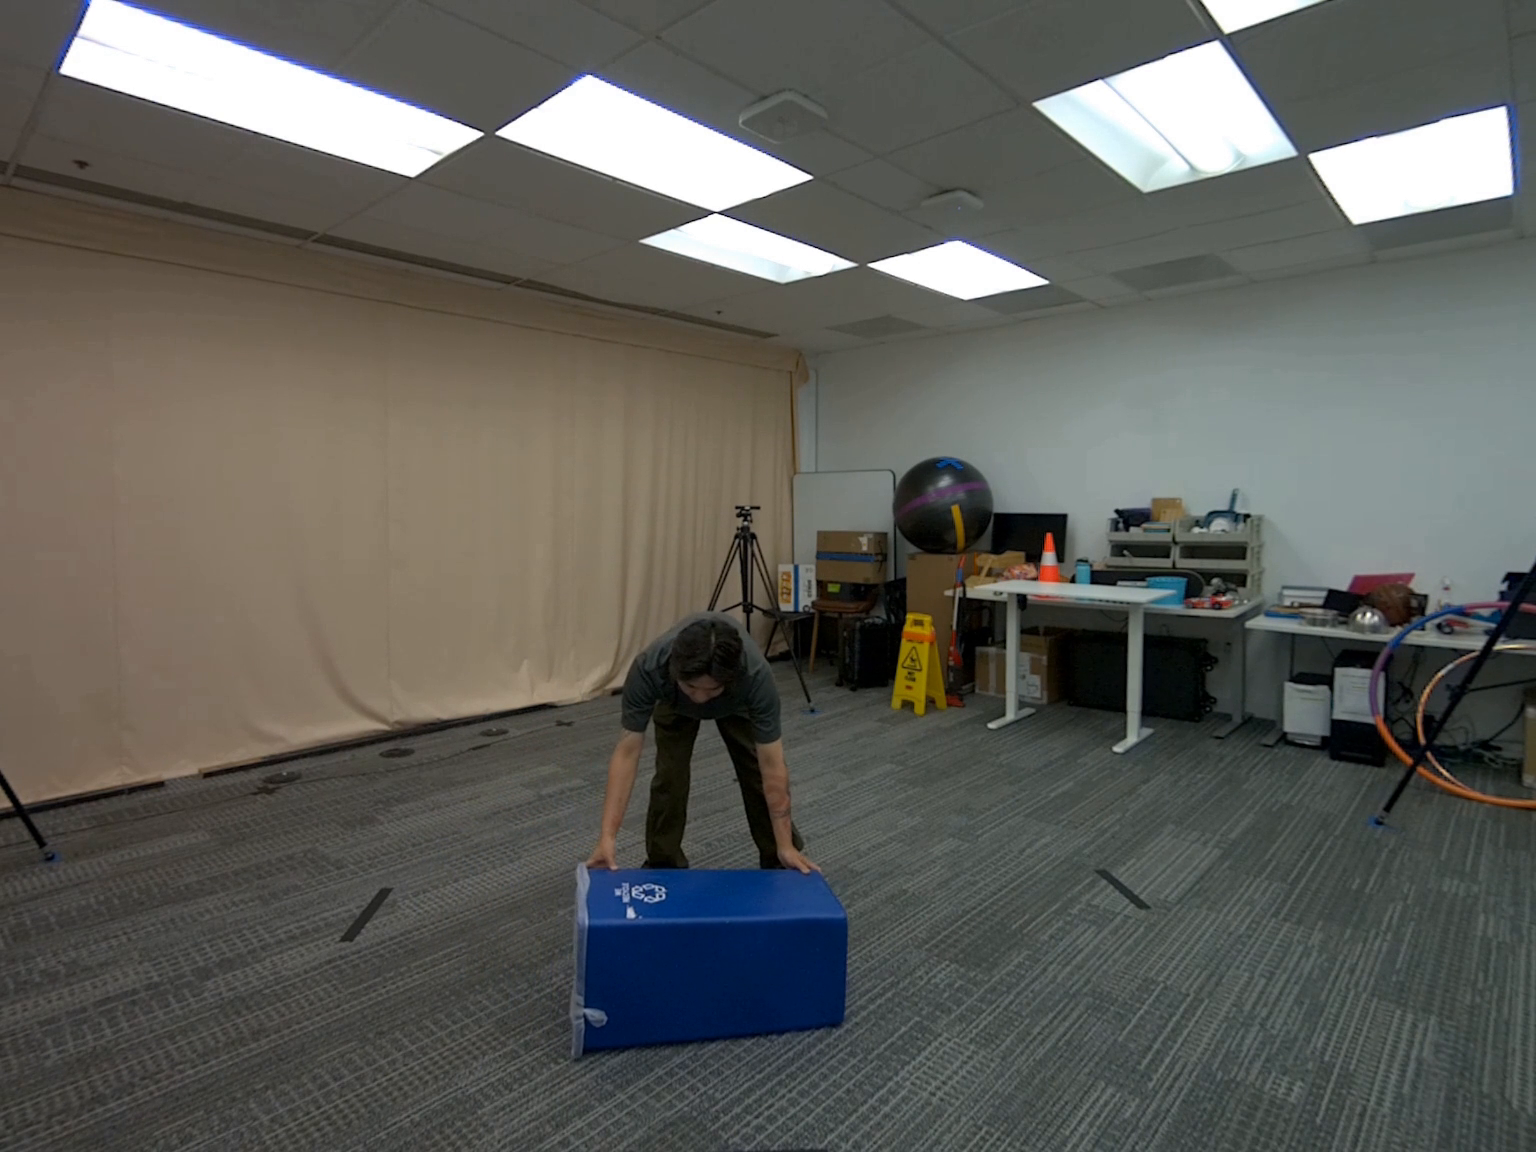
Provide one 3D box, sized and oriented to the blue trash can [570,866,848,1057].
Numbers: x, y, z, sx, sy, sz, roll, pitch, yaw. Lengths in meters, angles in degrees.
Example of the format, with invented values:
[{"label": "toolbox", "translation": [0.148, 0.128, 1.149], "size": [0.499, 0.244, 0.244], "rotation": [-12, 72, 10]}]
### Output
[{"label": "blue trash can", "translation": [-0.169, 1.023, 2.333], "size": [0.706, 0.374, 0.383], "rotation": [1, 2, -10]}]
